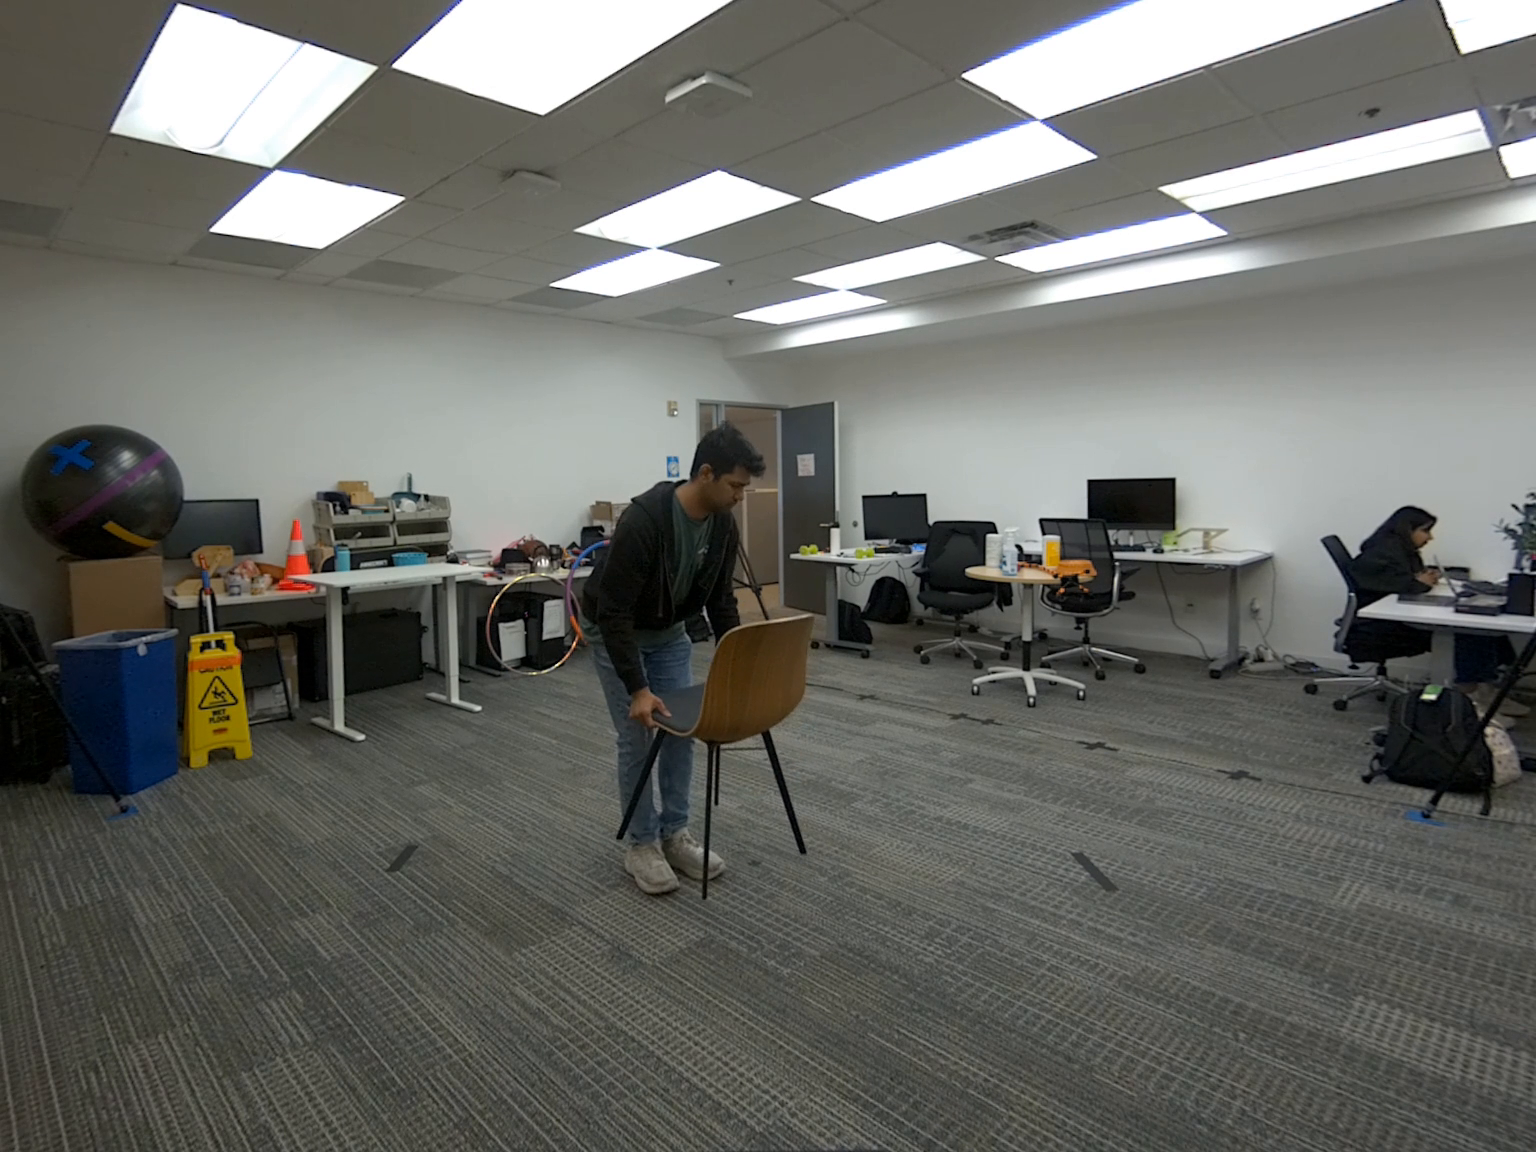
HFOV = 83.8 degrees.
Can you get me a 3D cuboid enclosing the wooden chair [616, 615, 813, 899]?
[{"bbox_3d":[-0.167,0.479,2.795,0.466,0.869,0.542,-6,17,-43],"label":"wooden chair"}]
